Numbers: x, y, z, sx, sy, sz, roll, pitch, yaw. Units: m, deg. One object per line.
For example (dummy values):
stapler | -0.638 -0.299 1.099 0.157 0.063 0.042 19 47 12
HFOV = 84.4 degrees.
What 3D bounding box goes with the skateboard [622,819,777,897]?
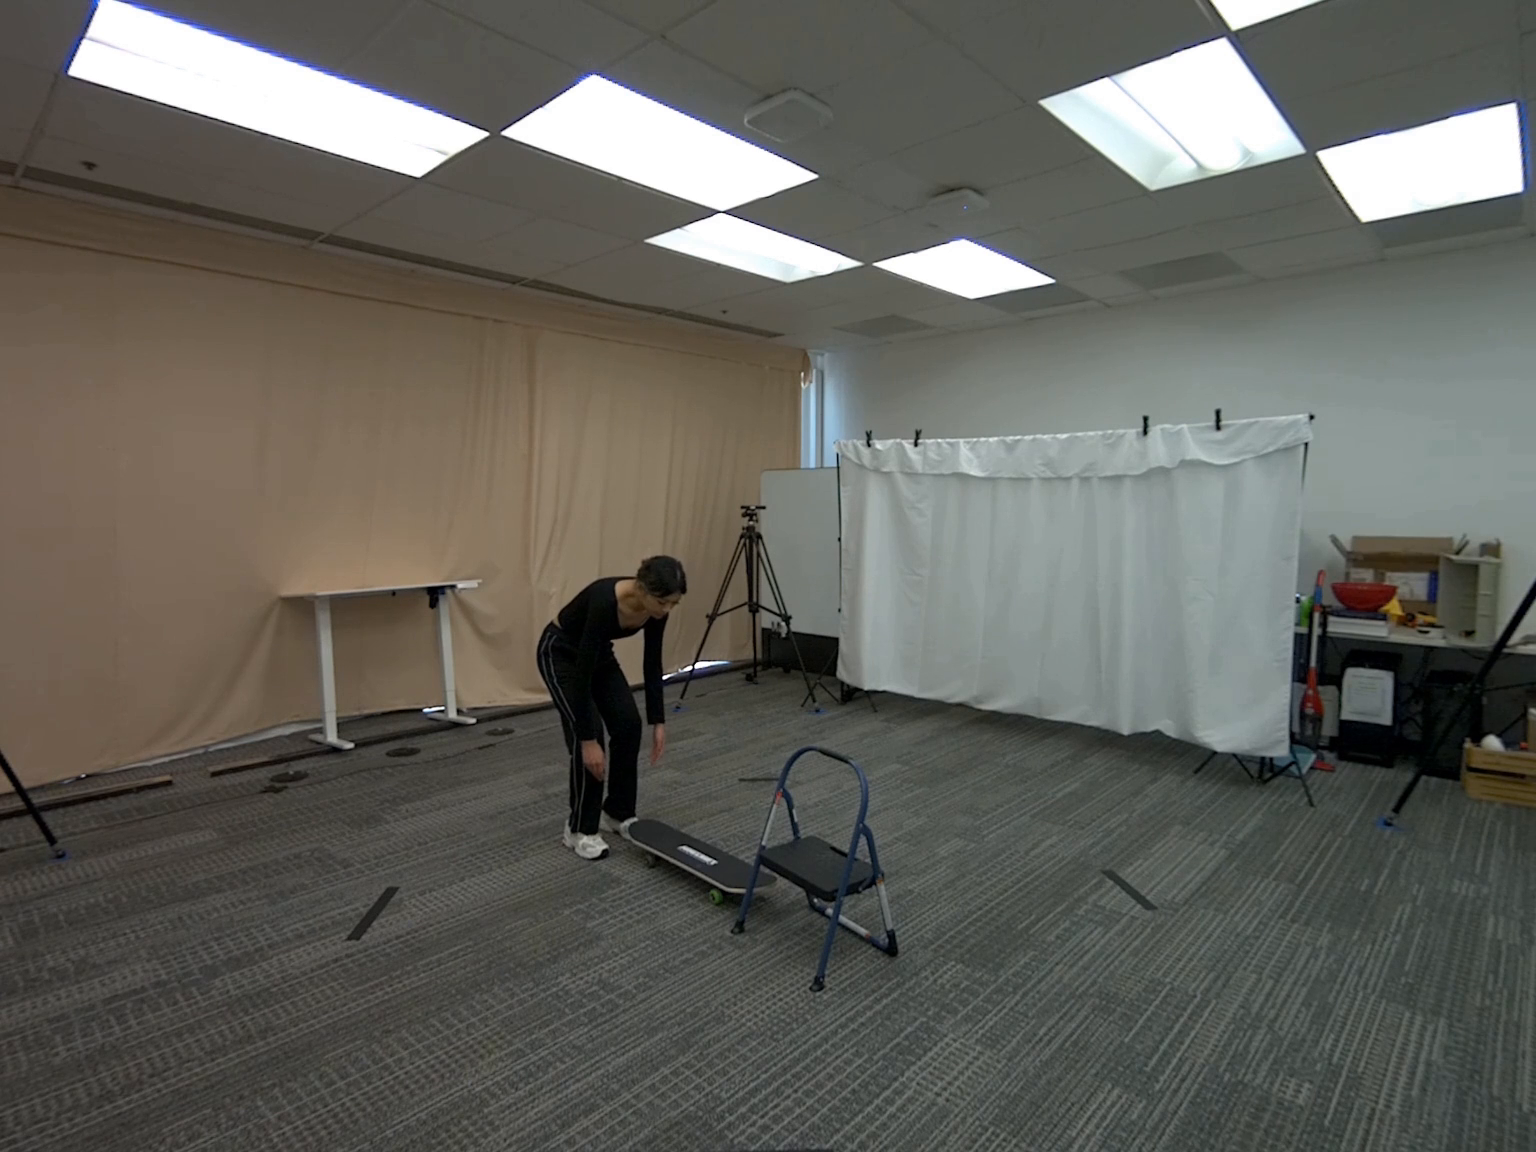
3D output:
skateboard | -0.263 1.078 3.149 0.187 0.110 0.812 -3 5 -42
